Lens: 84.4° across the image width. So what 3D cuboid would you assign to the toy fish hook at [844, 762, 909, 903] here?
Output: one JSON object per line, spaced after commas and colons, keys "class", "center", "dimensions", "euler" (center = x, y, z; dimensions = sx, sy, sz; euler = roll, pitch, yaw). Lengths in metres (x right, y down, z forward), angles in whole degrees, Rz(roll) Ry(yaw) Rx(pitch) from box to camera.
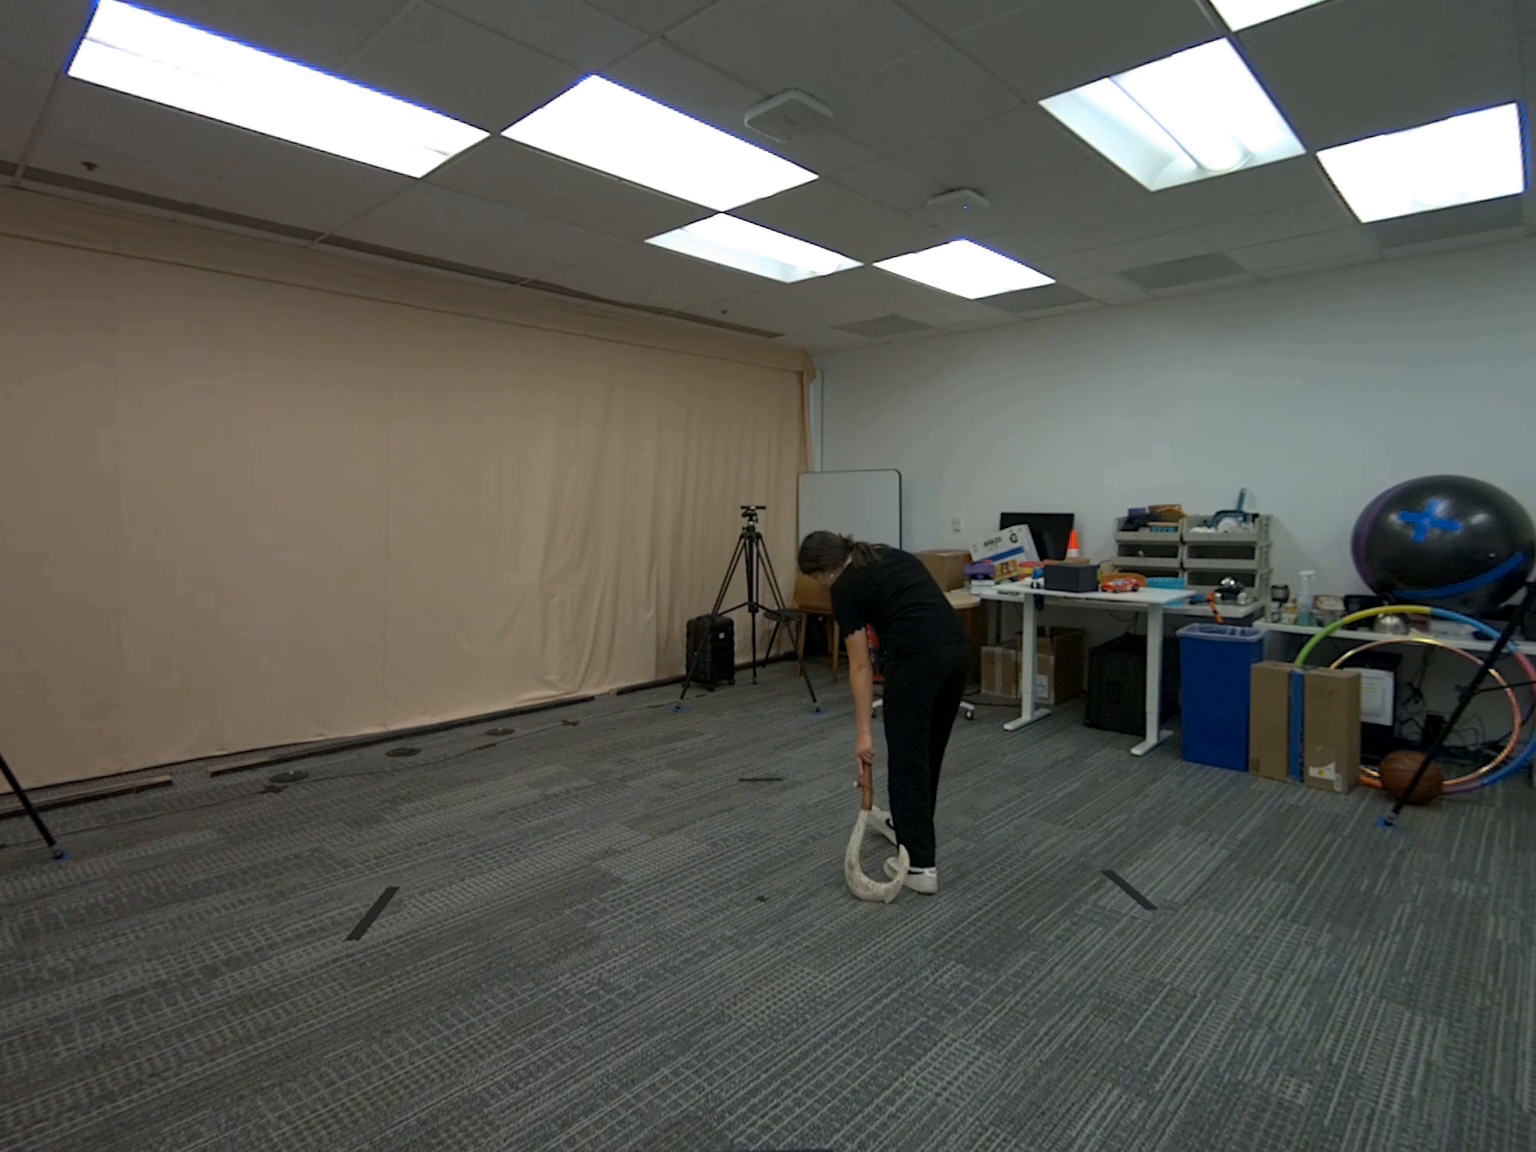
{"class": "toy fish hook", "center": [0.402, 0.912, 3.057], "dimensions": [0.227, 0.512, 0.047], "euler": [-1, -22, 12]}
